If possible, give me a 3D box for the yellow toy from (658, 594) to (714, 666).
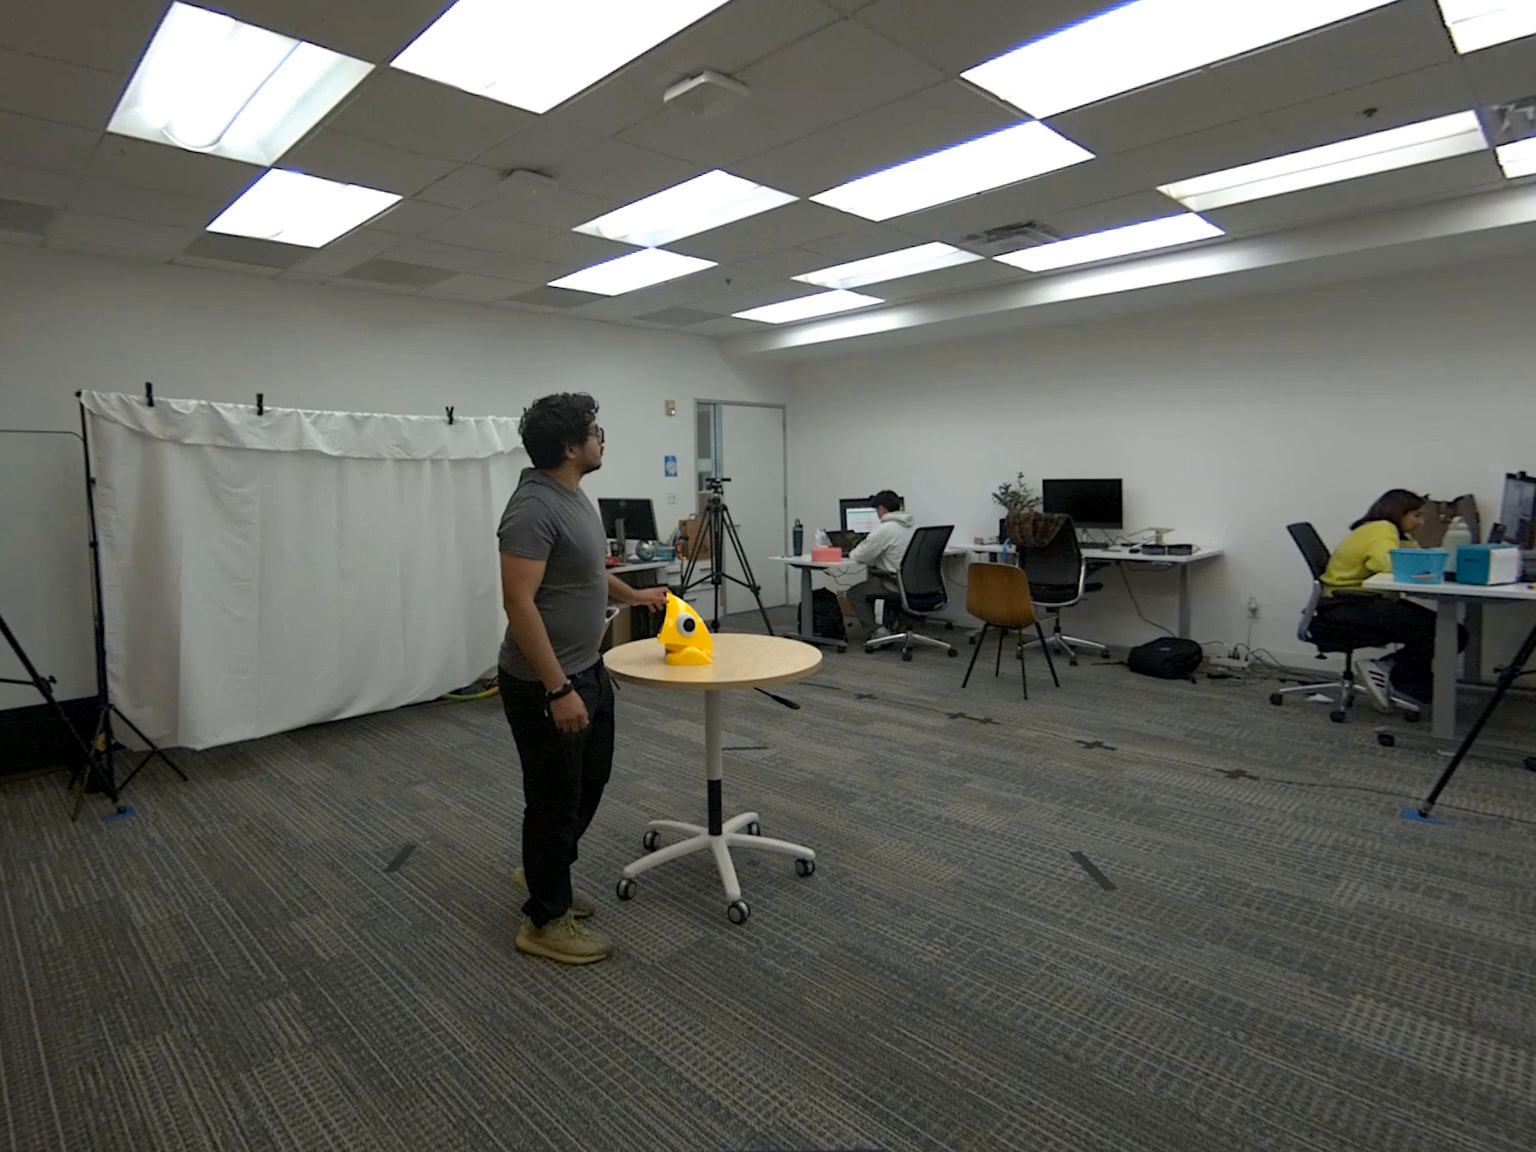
[{"bbox_3d":[-0.281,0.170,2.916,0.192,0.230,0.206,-2,4,-4],"label":"yellow toy"}]
